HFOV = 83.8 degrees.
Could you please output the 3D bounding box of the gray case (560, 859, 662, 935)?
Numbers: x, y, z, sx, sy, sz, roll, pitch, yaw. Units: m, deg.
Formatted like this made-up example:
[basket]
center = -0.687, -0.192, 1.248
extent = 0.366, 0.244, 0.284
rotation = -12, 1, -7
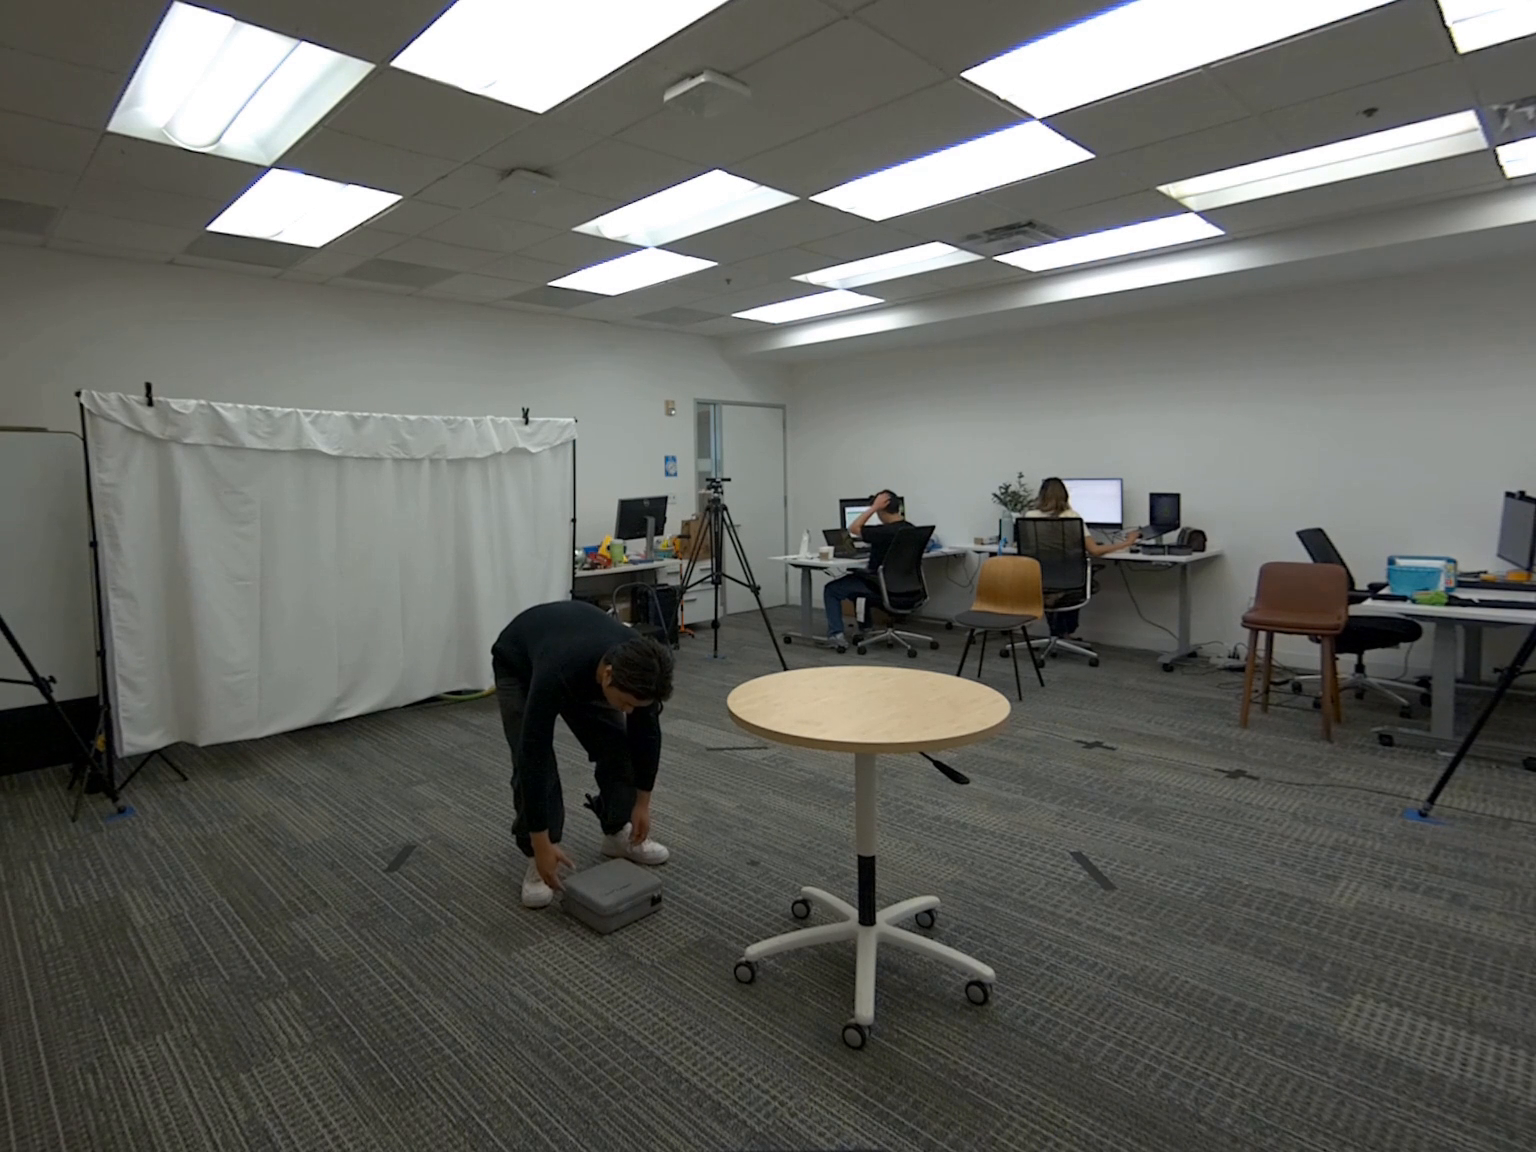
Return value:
[gray case]
center = -0.516, 1.029, 2.780
extent = 0.269, 0.104, 0.250
rotation = 4, 10, 44
